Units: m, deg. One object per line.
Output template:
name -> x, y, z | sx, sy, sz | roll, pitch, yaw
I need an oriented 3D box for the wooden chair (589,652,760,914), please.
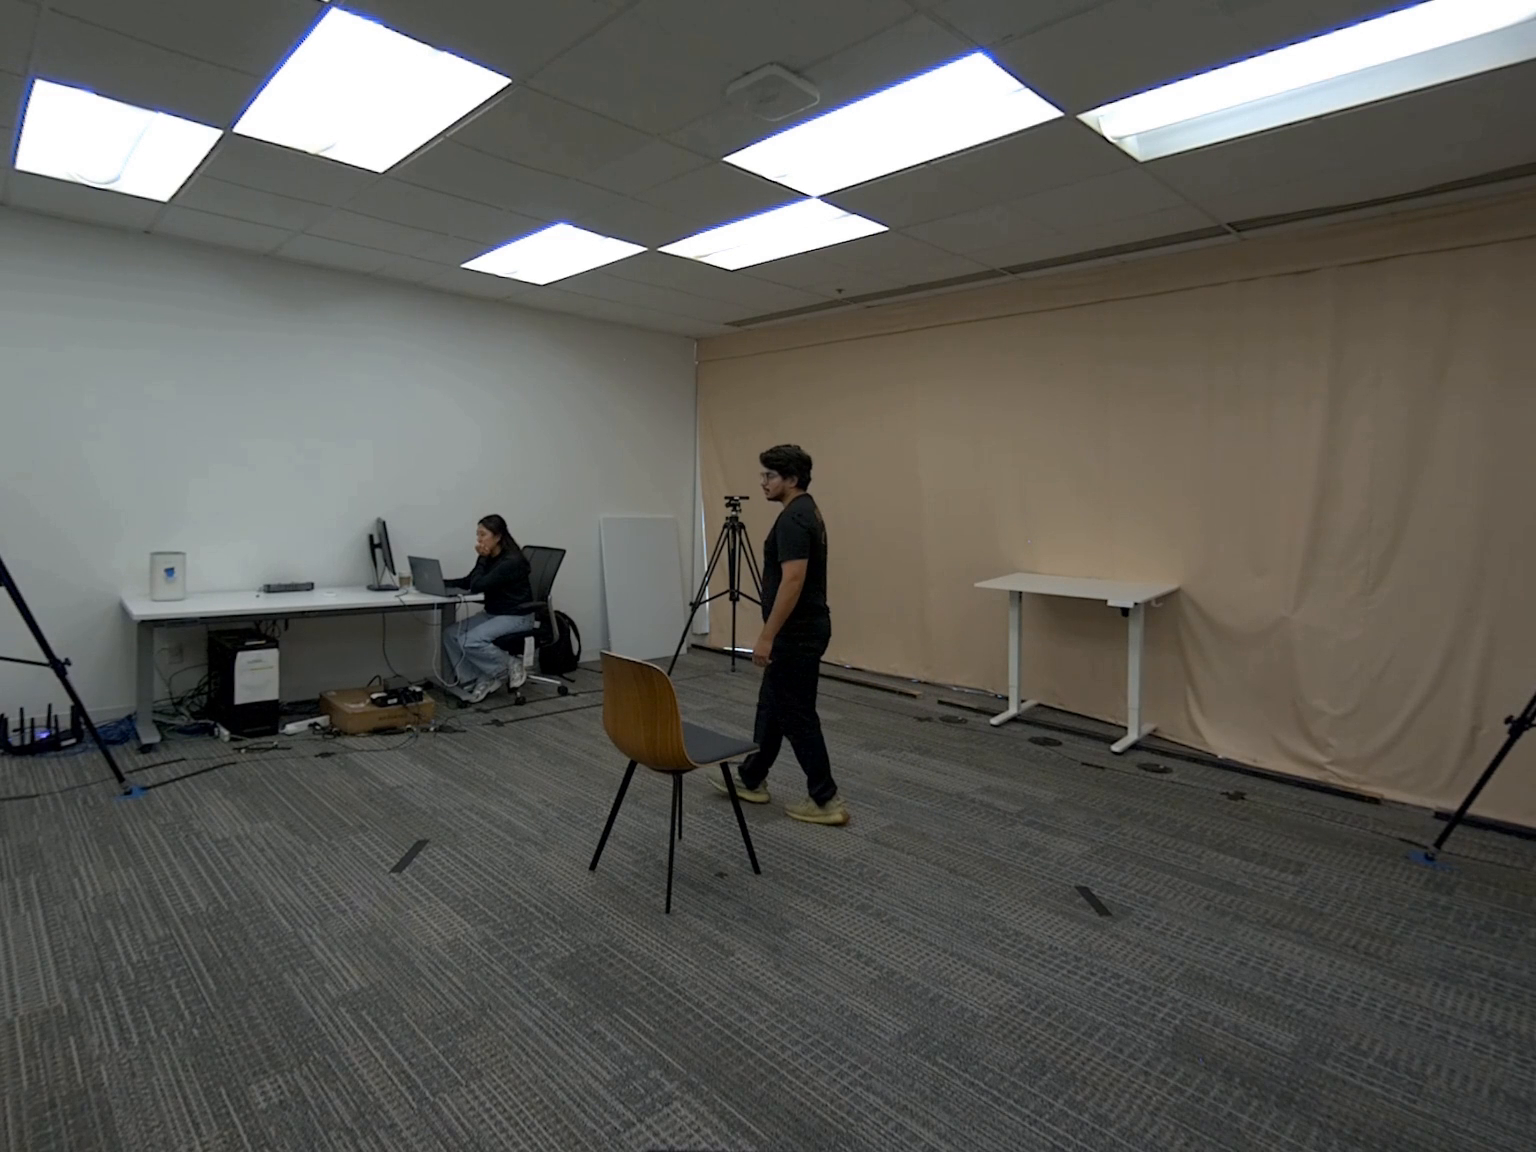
wooden chair -> -0.333, 0.673, 3.092 | 0.490, 0.873, 0.512 | 4, 9, 44
